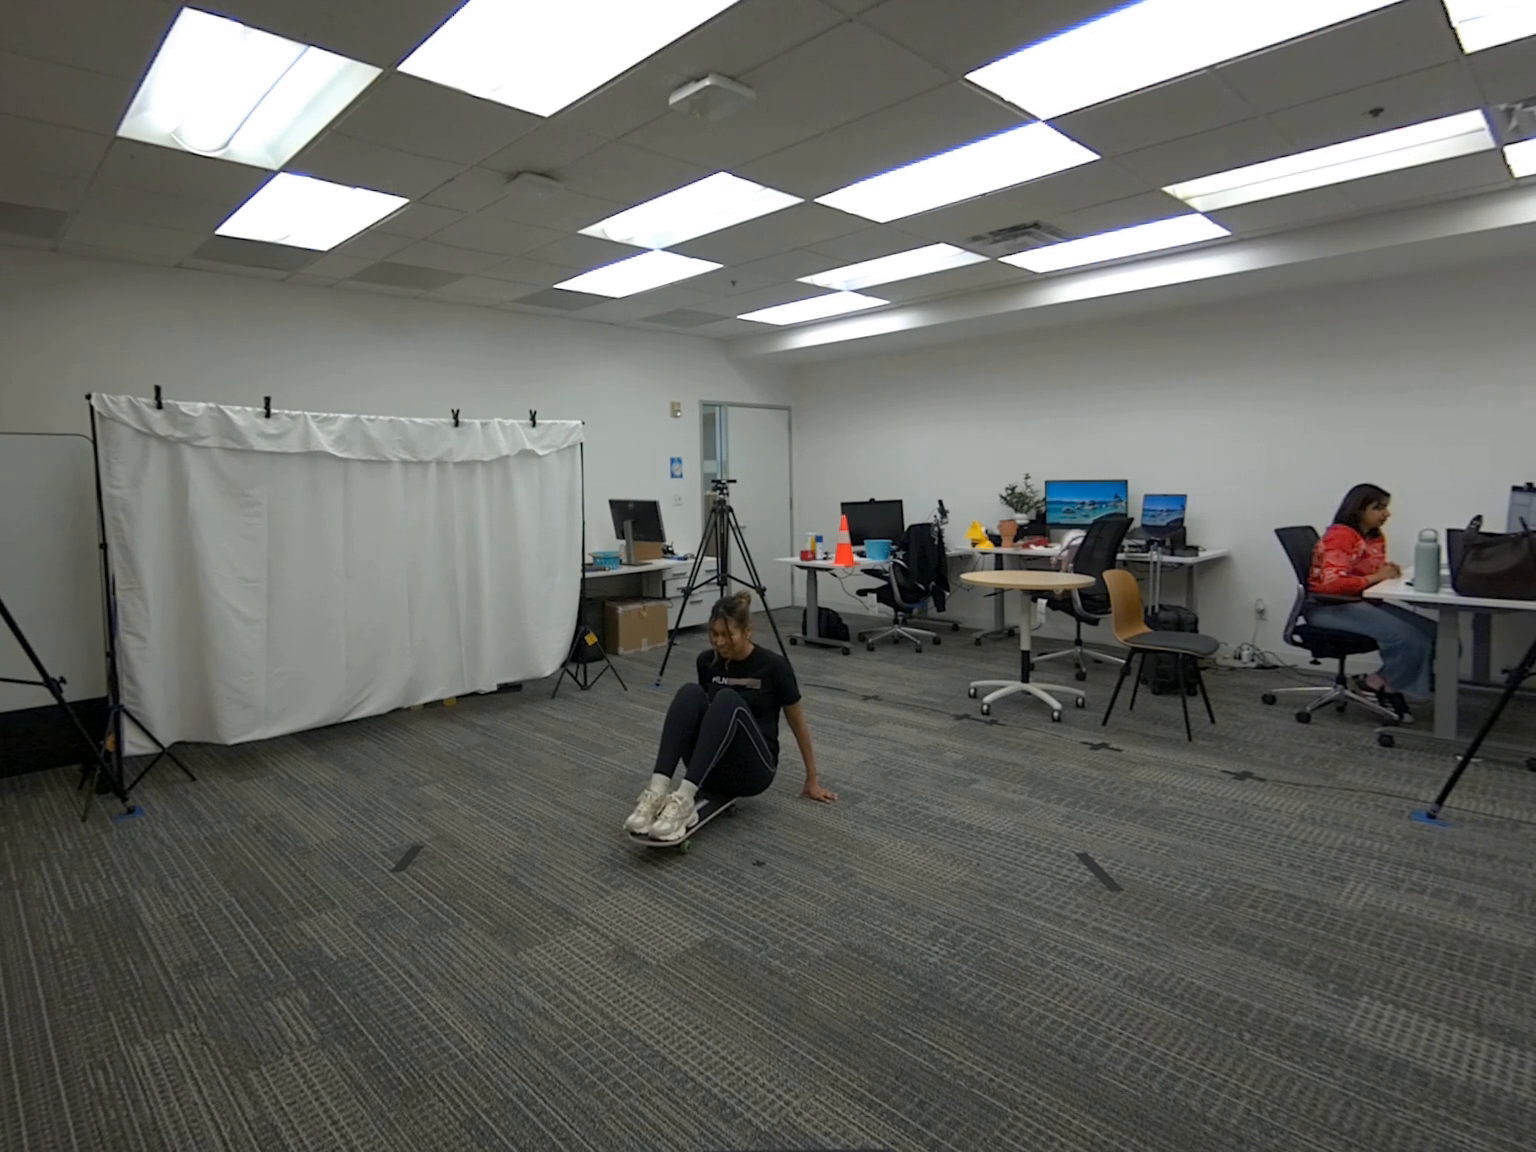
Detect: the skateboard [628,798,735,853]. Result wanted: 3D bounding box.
[{"bbox_3d":[-0.301,0.972,3.427,0.198,0.110,0.771,2,7,24],"label":"skateboard"}]
